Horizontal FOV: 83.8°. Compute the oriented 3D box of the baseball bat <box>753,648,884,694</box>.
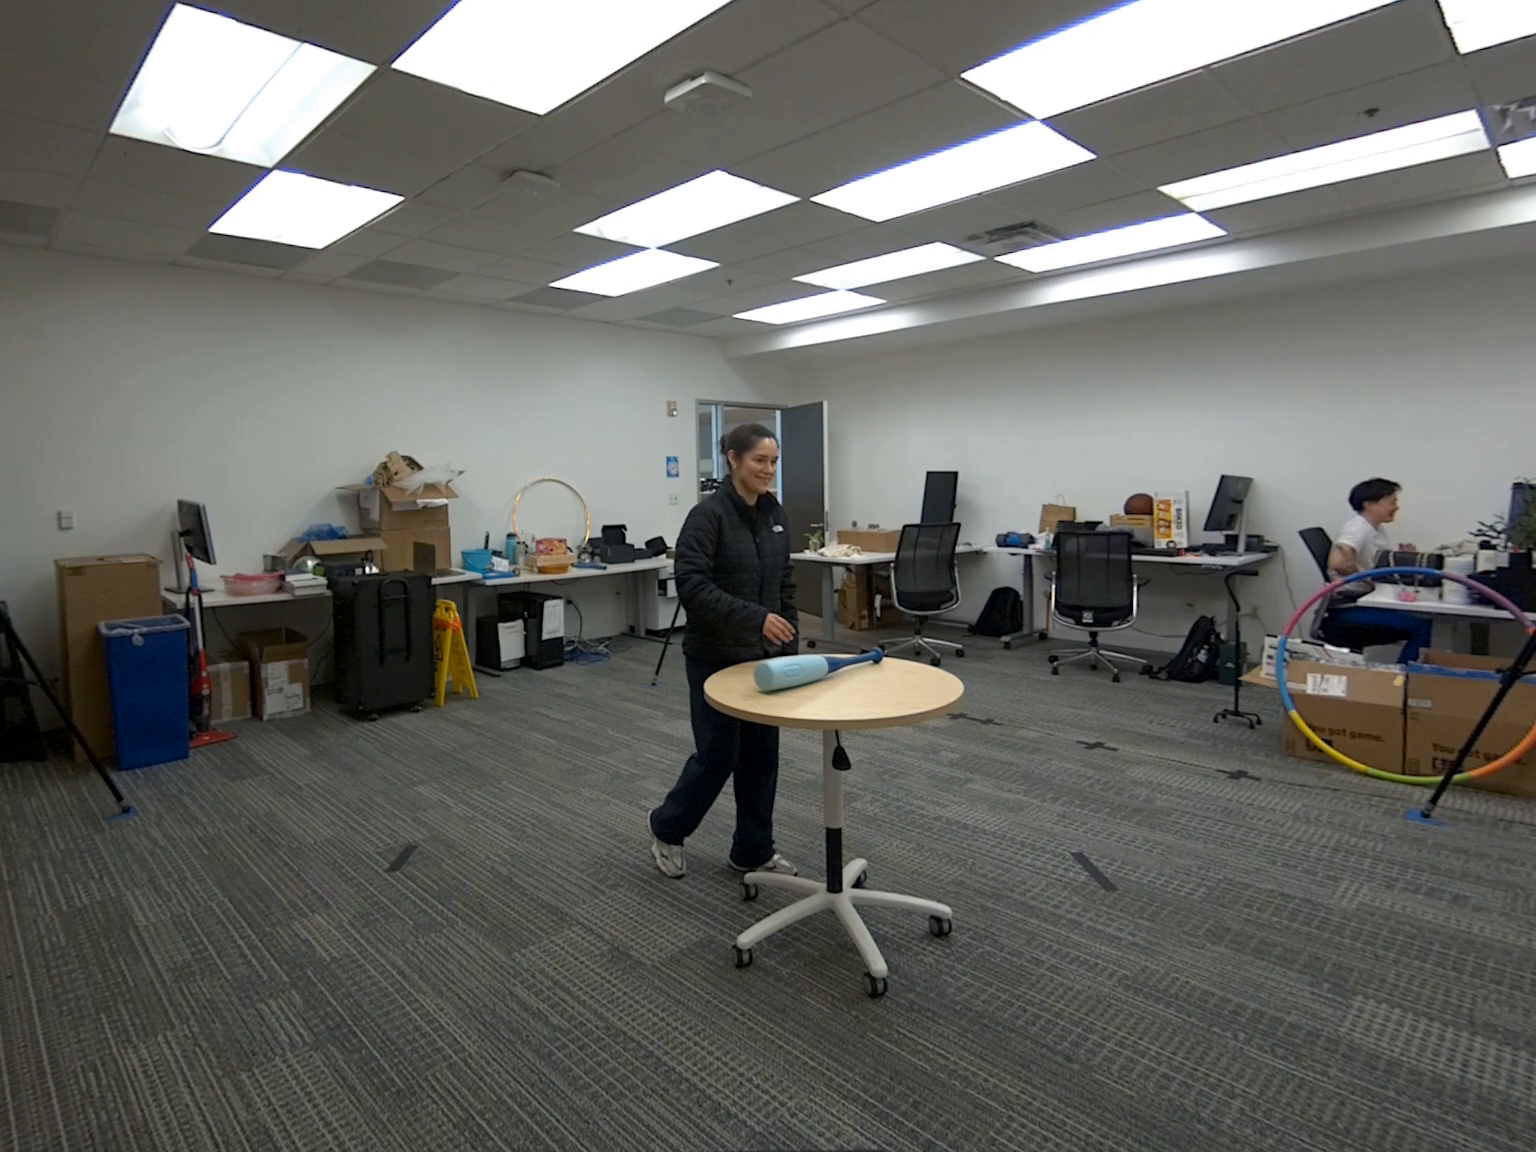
[{"bbox_3d":[0.158,0.273,2.645,0.528,0.089,0.092,-4,5,-42],"label":"baseball bat"}]
